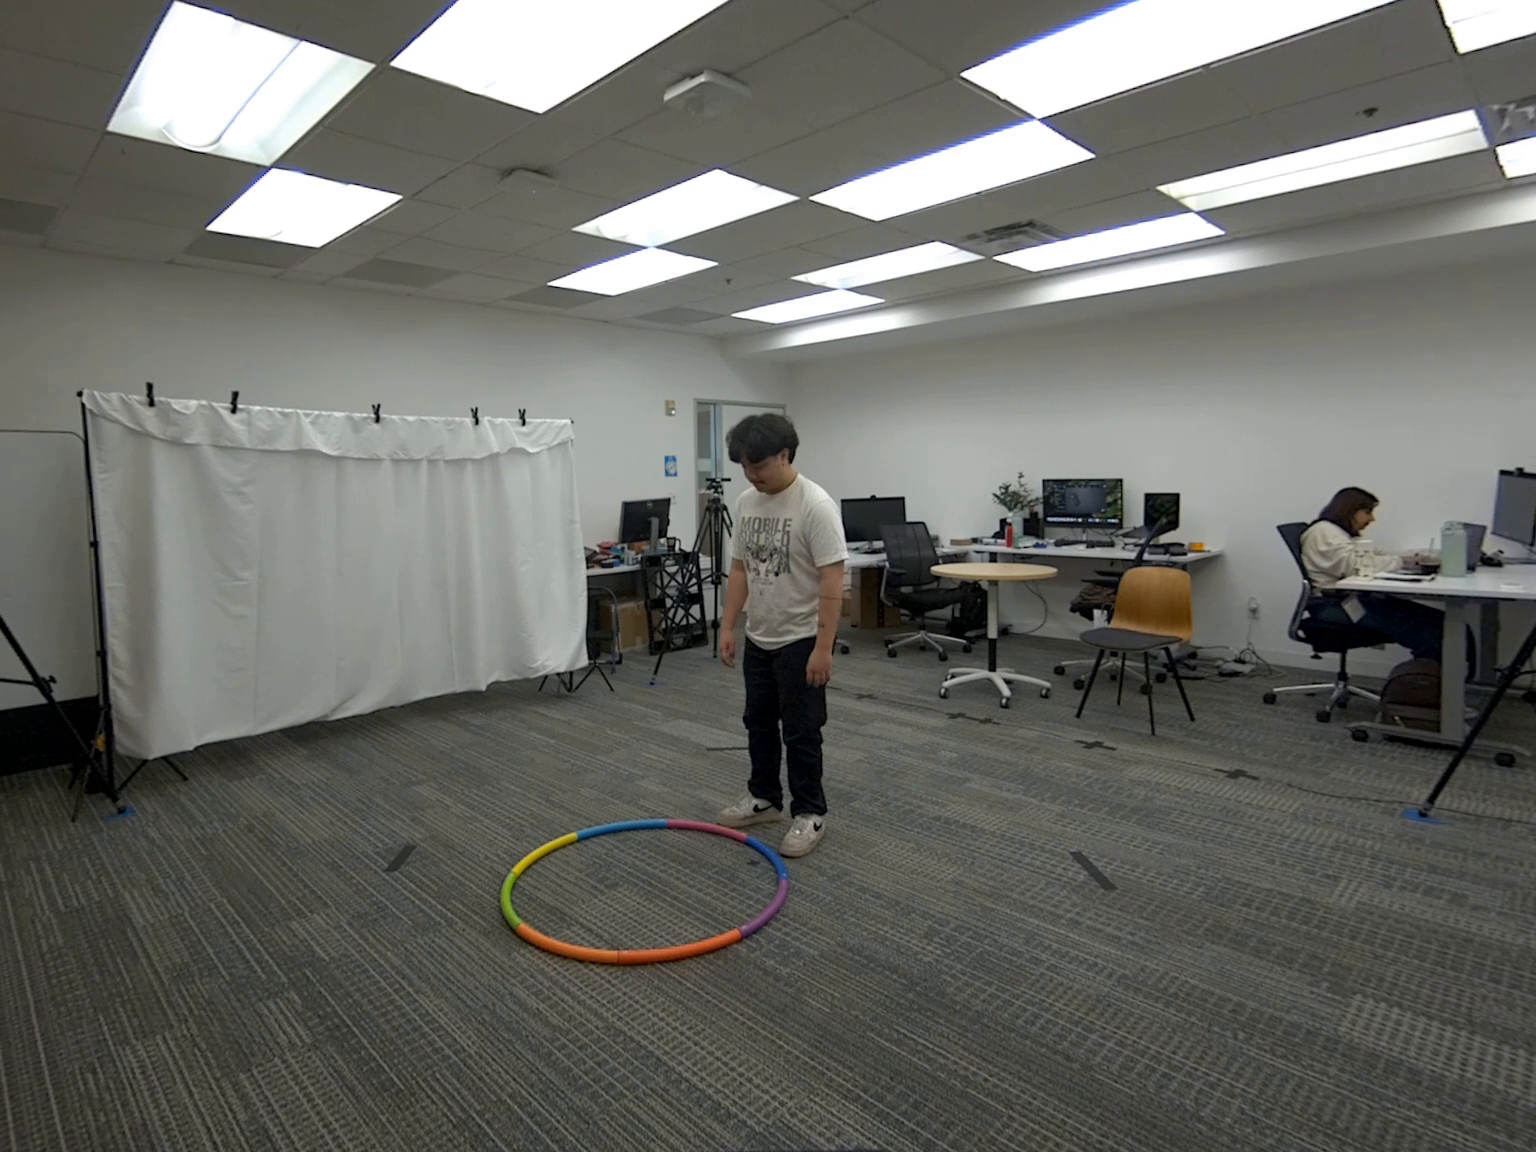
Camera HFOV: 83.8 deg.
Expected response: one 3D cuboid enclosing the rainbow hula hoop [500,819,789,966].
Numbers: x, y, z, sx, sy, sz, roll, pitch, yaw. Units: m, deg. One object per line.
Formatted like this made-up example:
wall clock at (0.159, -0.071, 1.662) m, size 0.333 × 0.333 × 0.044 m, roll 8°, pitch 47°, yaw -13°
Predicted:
rainbow hula hoop at (-0.418, 1.041, 2.952) m, size 0.985 × 0.051 × 0.991 m, roll -1°, pitch 6°, yaw -2°
